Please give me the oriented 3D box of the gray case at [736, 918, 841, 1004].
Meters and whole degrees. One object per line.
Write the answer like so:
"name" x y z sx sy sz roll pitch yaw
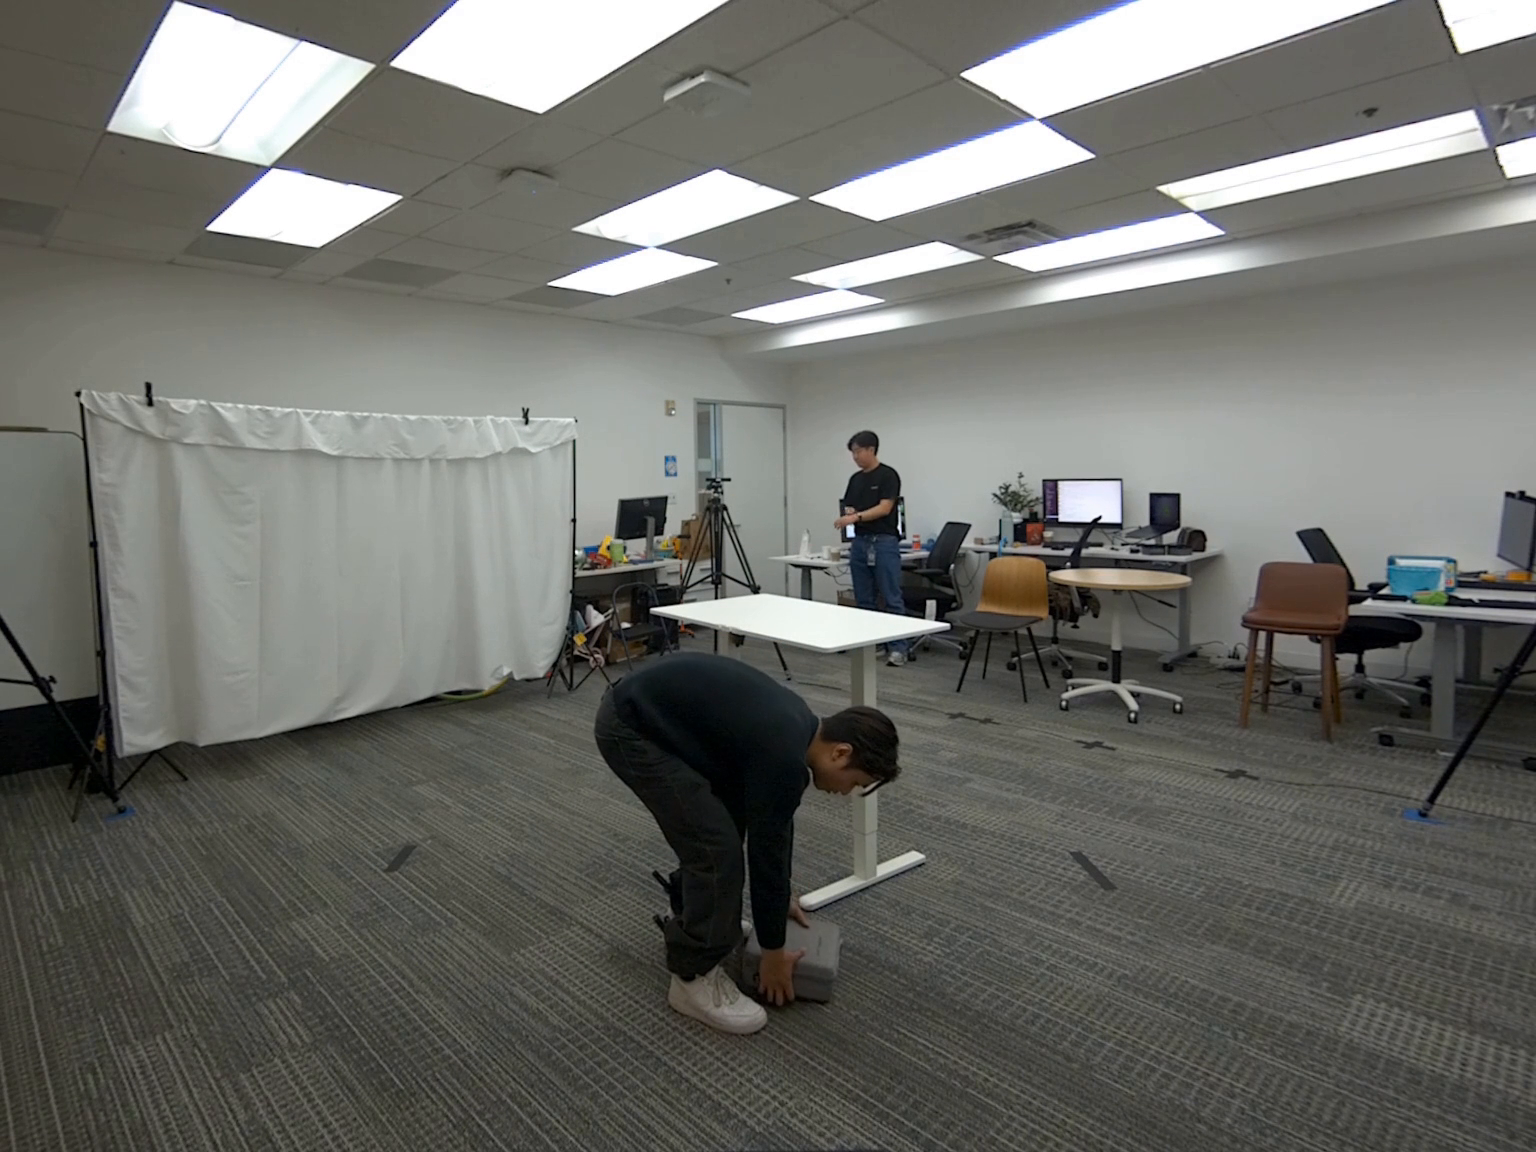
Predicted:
"gray case" 0.067 1.058 2.394 0.263 0.104 0.256 5 5 7
